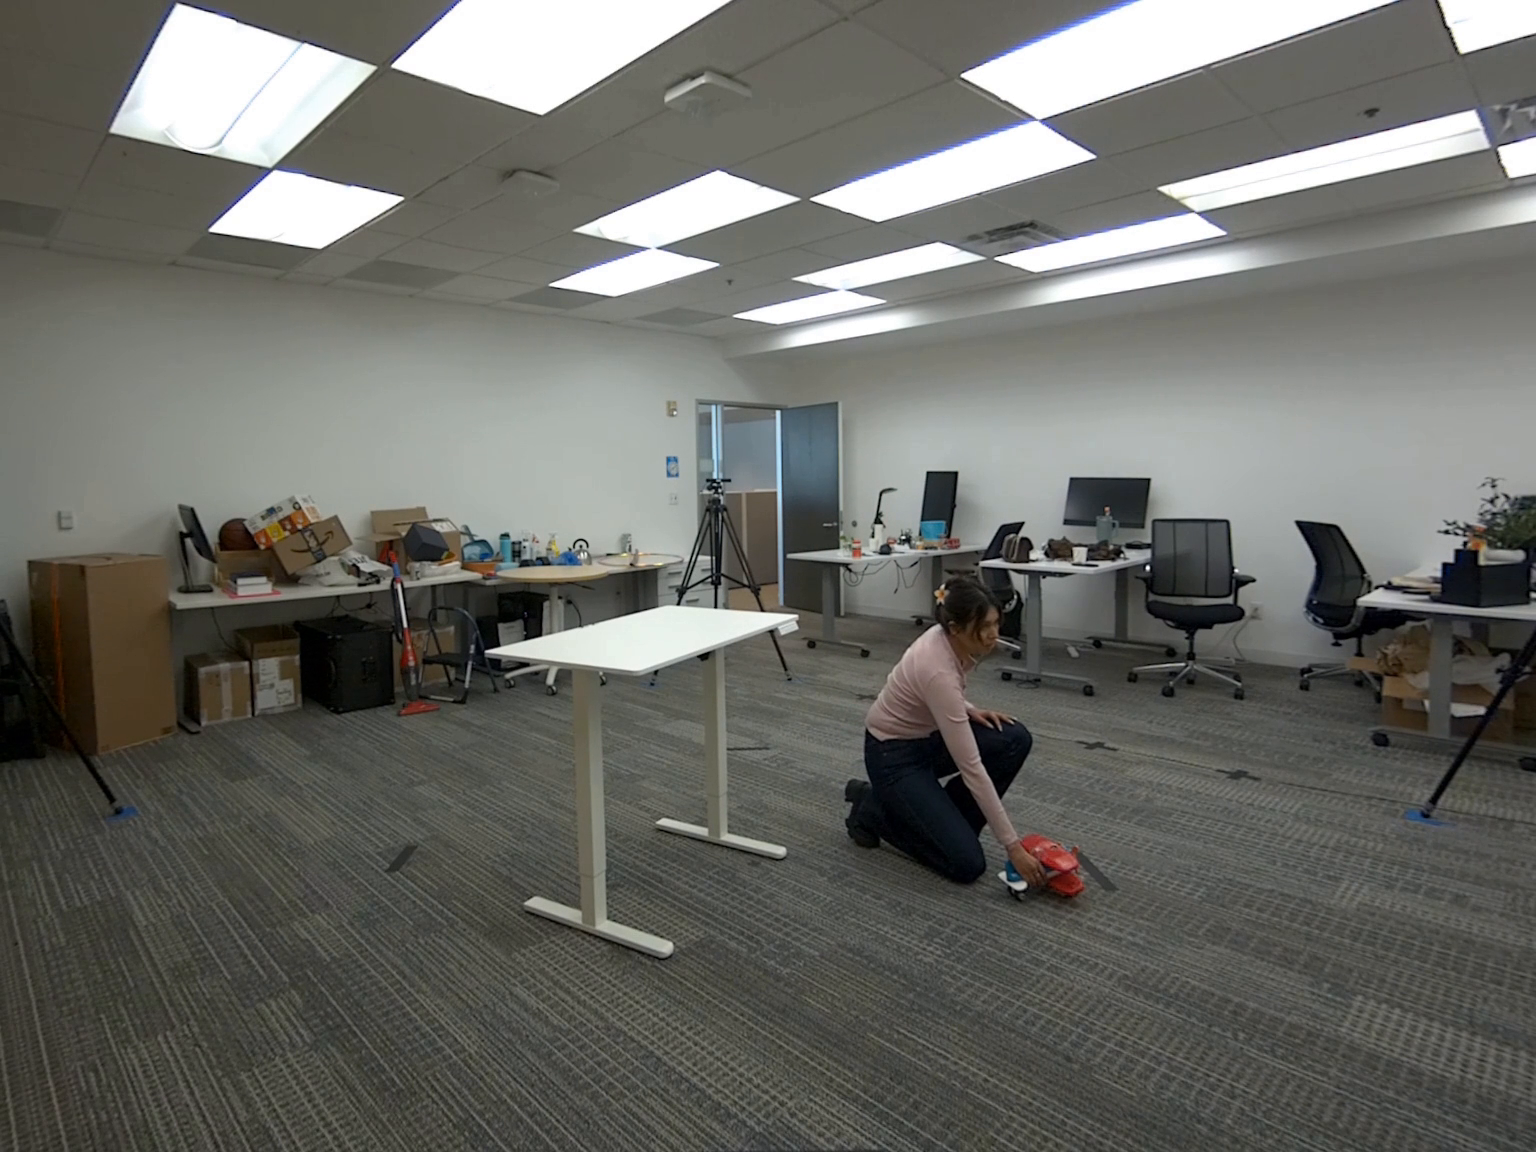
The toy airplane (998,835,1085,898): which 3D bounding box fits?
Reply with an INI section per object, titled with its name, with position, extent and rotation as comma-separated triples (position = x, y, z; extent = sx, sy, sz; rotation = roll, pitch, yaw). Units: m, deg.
[toy airplane]
position = 0.918, 0.990, 2.826
extent = 0.252, 0.156, 0.259
rotation = -5, 7, -44
